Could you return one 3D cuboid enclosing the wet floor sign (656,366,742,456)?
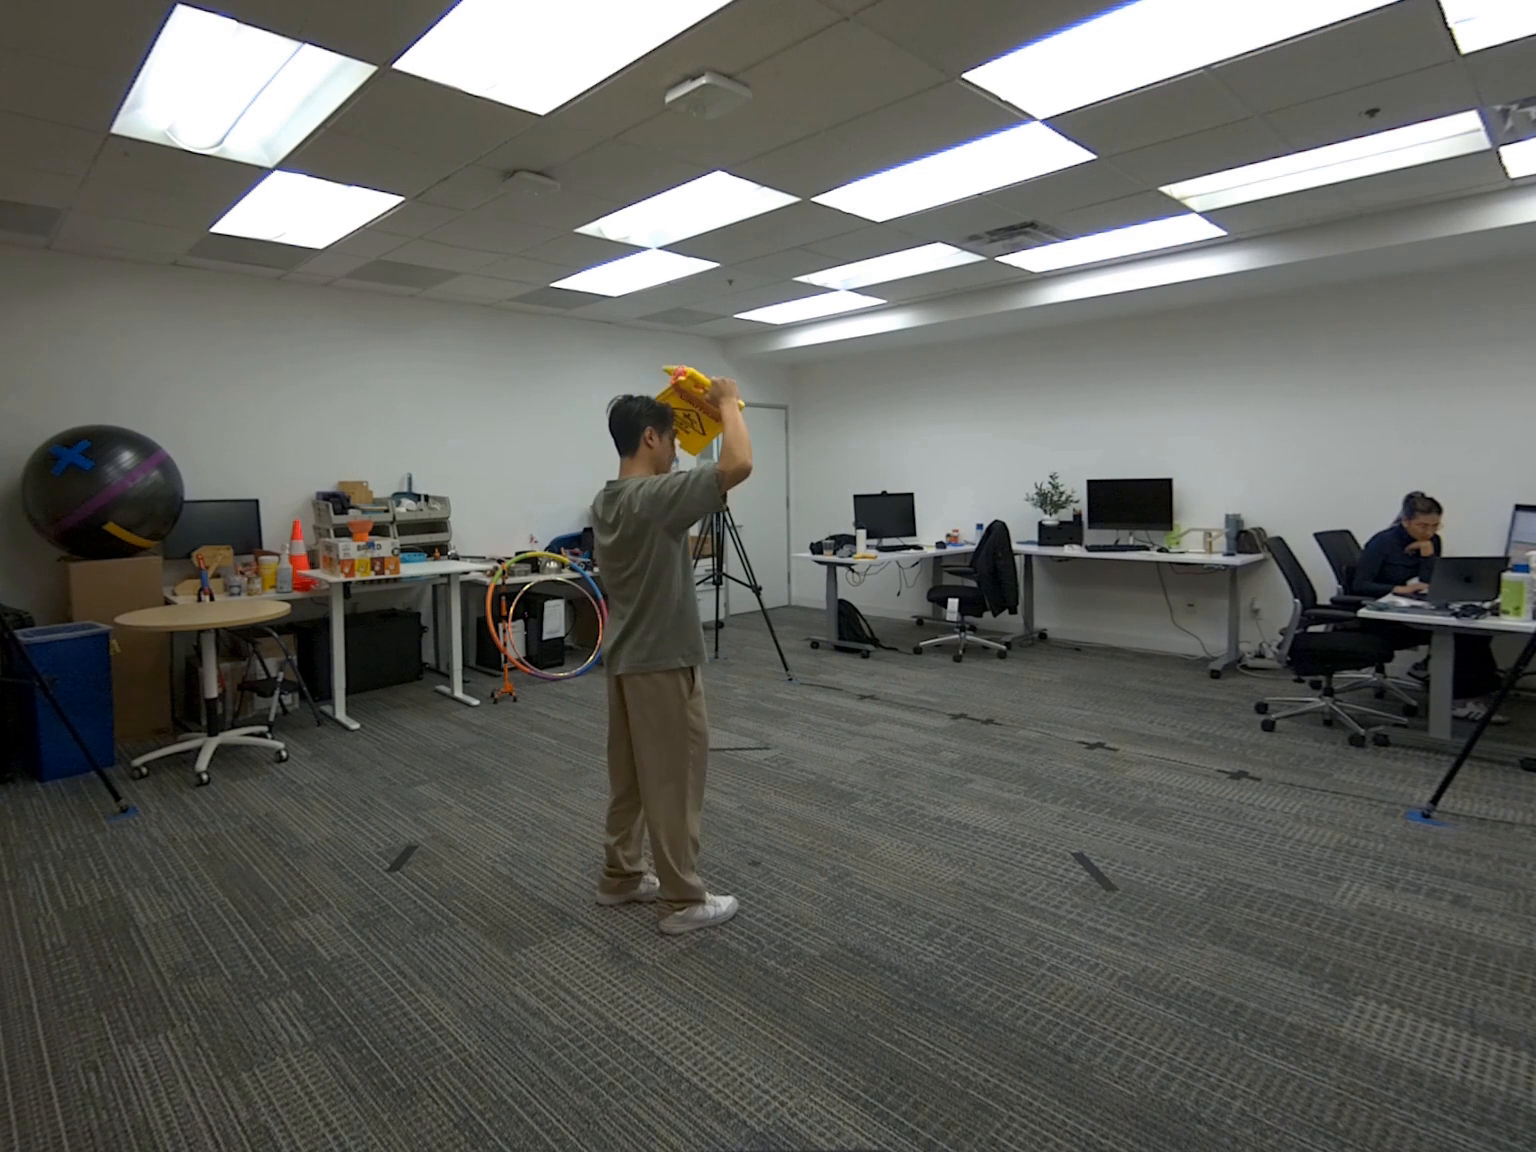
[{"bbox_3d":[-0.241,-0.581,2.892,0.277,0.290,0.657,33,-5,-16],"label":"wet floor sign"}]
